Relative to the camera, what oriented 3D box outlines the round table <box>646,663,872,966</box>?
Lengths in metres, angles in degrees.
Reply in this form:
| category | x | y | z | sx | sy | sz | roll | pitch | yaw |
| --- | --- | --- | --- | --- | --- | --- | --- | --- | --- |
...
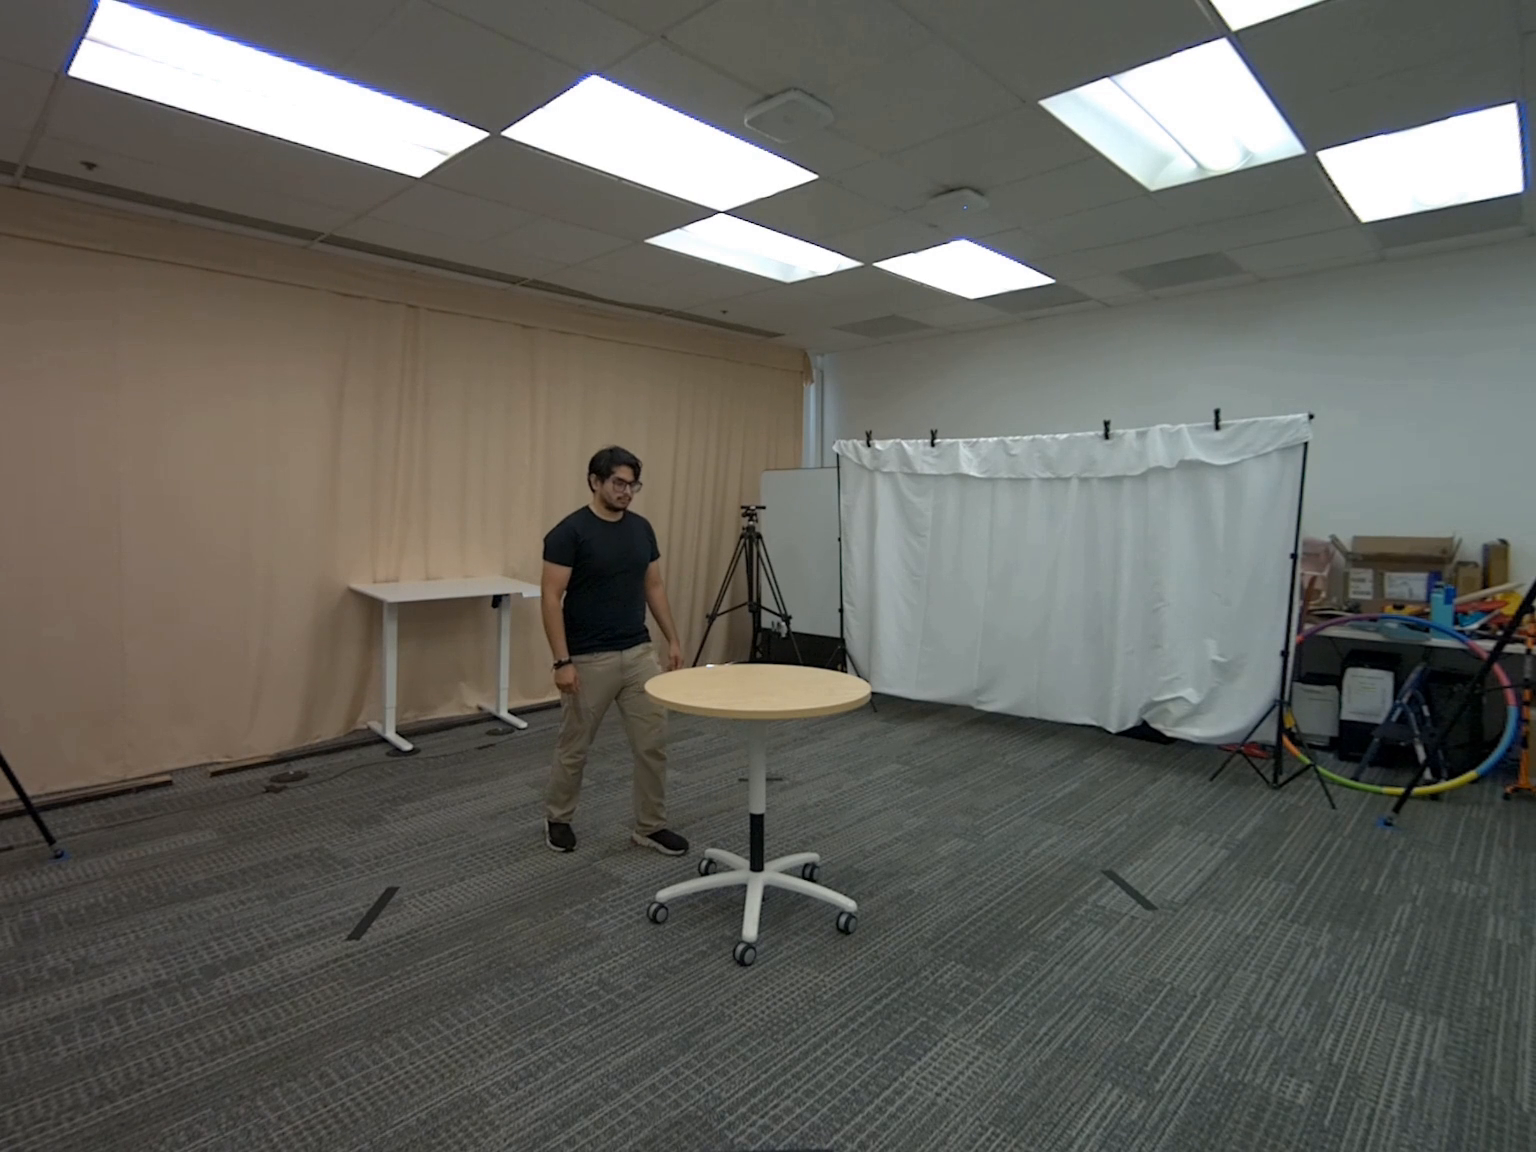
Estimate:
| category | x | y | z | sx | sy | sz | roll | pitch | yaw |
| --- | --- | --- | --- | --- | --- | --- | --- | --- | --- |
| round table | -0.022 | 0.759 | 2.891 | 0.784 | 0.785 | 0.788 | 0 | 4 | -2 |
